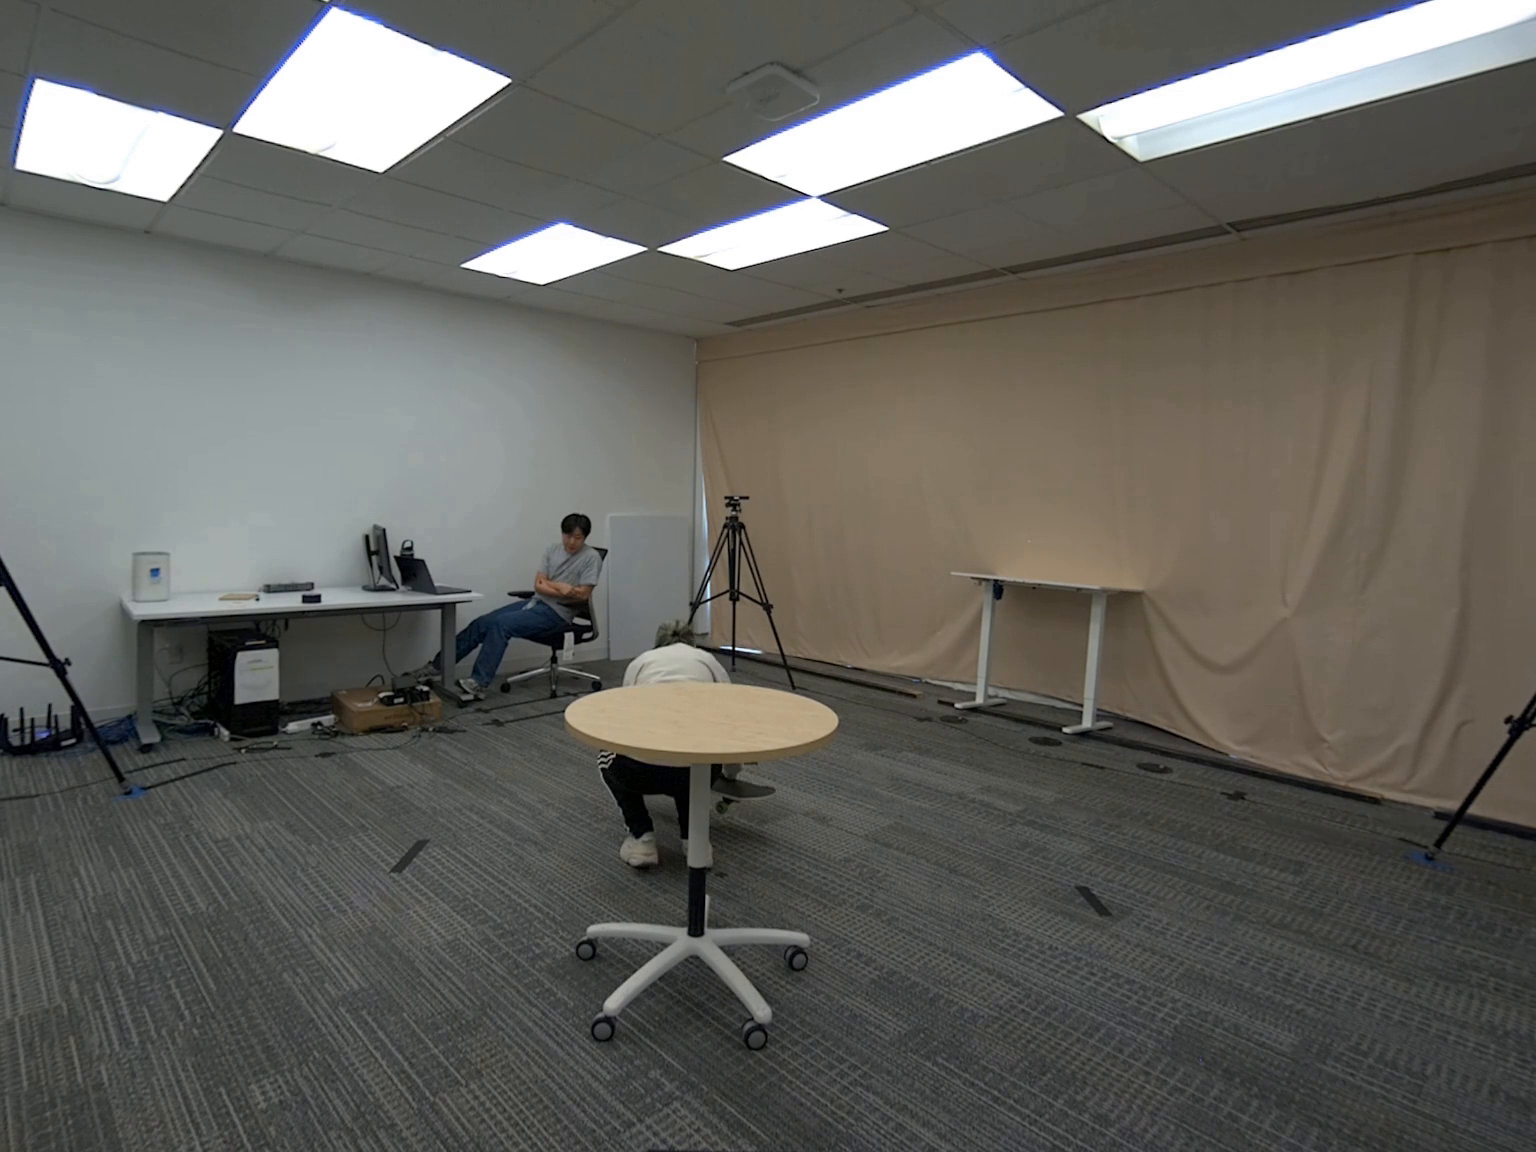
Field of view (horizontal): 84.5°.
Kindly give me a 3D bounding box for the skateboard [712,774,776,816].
[{"bbox_3d":[-0.345,0.889,3.599,0.801,0.110,0.190,7,5,25],"label":"skateboard"}]
